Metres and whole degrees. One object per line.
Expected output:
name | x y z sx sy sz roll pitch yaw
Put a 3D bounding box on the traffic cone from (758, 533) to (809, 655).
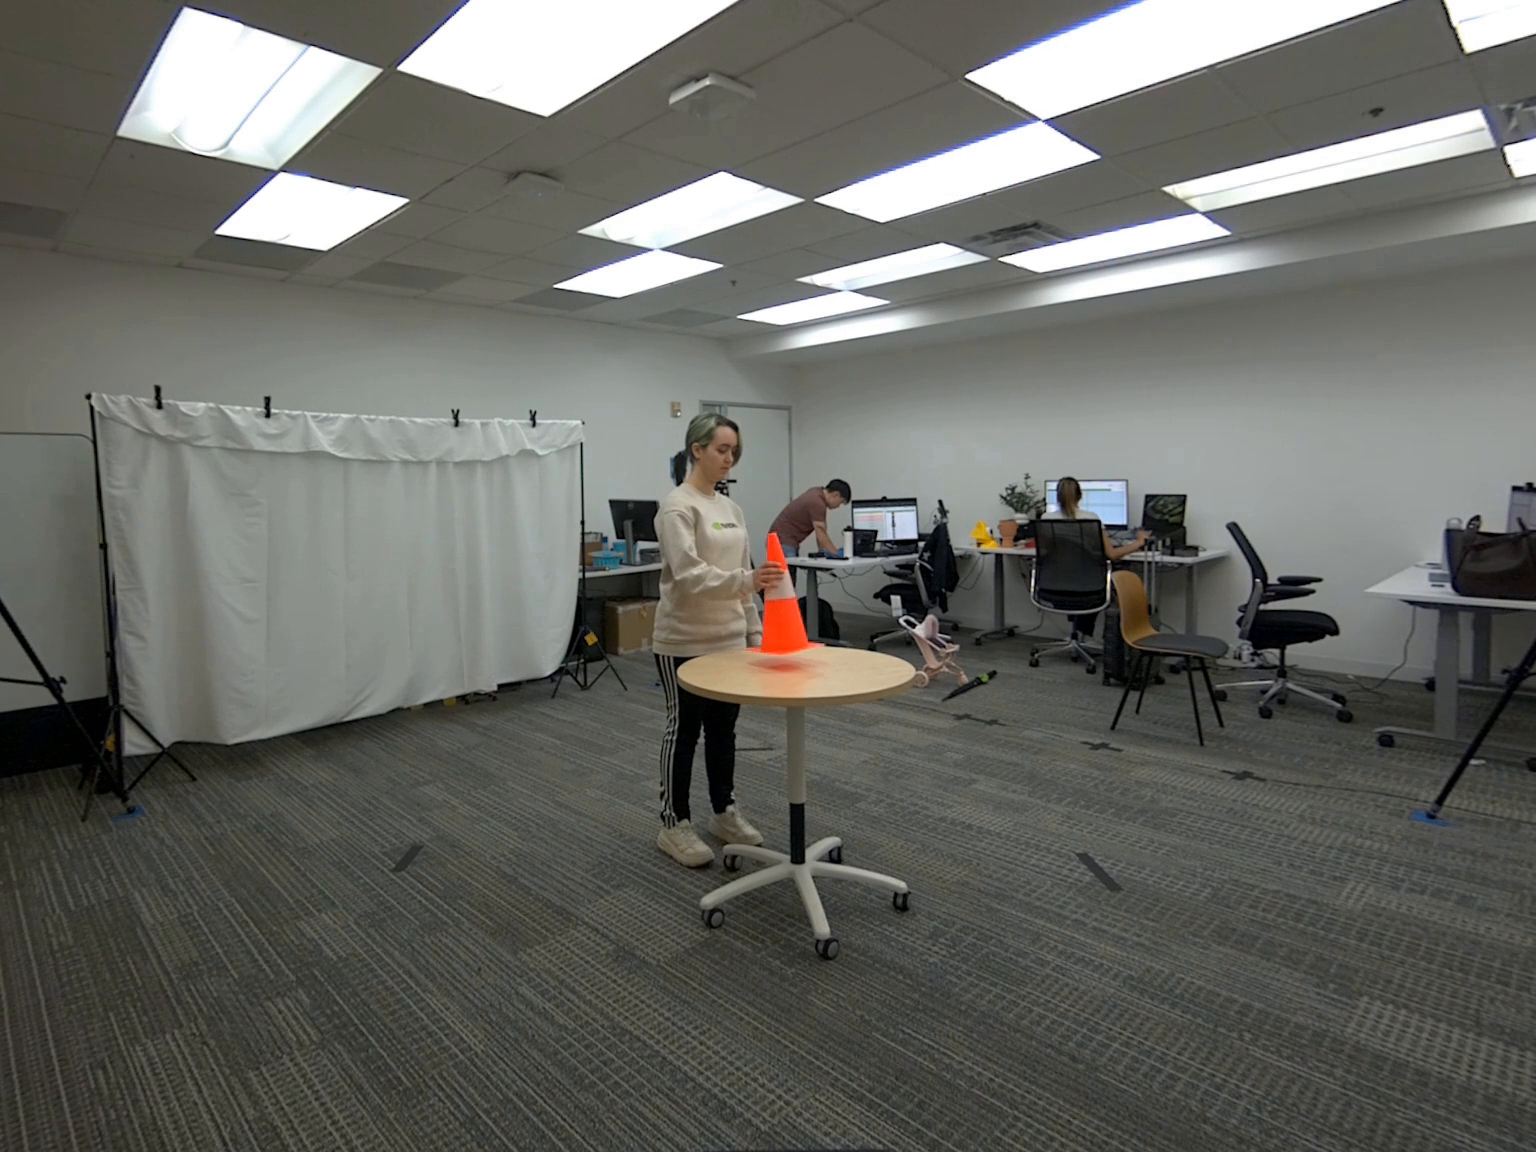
traffic cone | 0.034 0.046 2.816 0.208 0.383 0.200 -4 2 35
